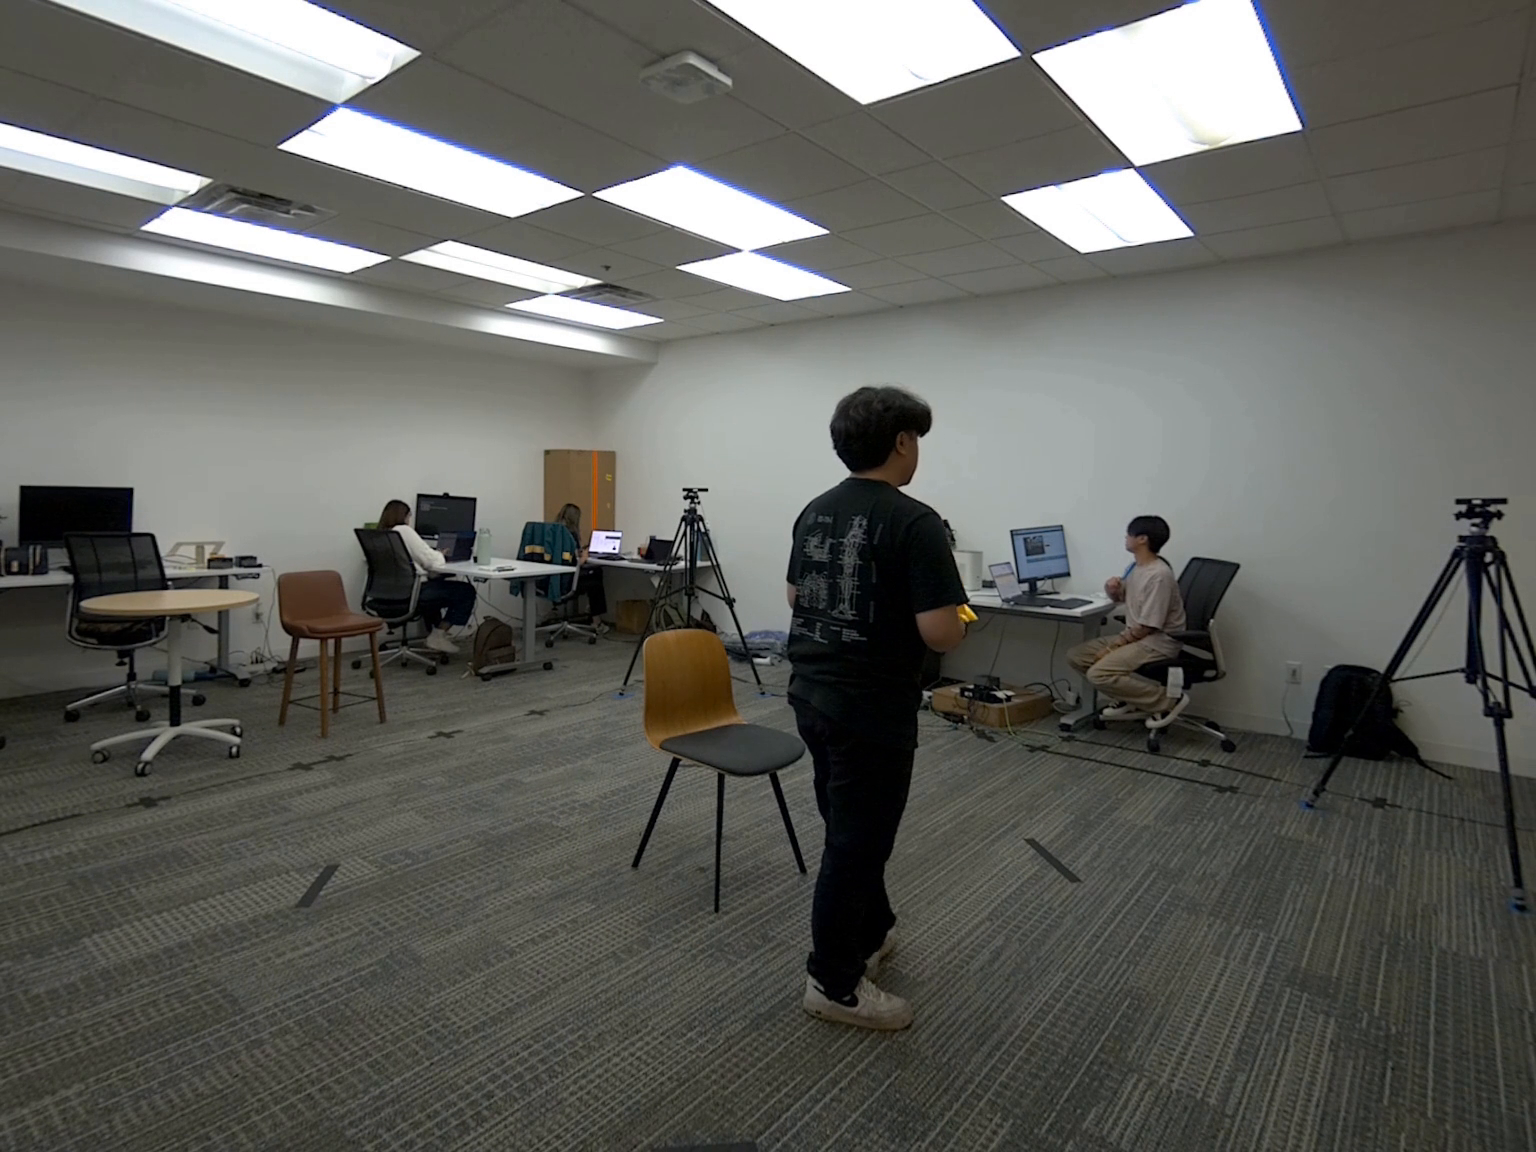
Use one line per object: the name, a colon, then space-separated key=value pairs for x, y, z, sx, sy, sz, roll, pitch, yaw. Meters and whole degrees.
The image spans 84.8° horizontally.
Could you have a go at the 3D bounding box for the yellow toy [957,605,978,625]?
yellow toy: x=0.471 y=0.031 z=2.433 sx=0.198 sy=0.230 sz=0.199 roll=-7 pitch=3 yaw=41
